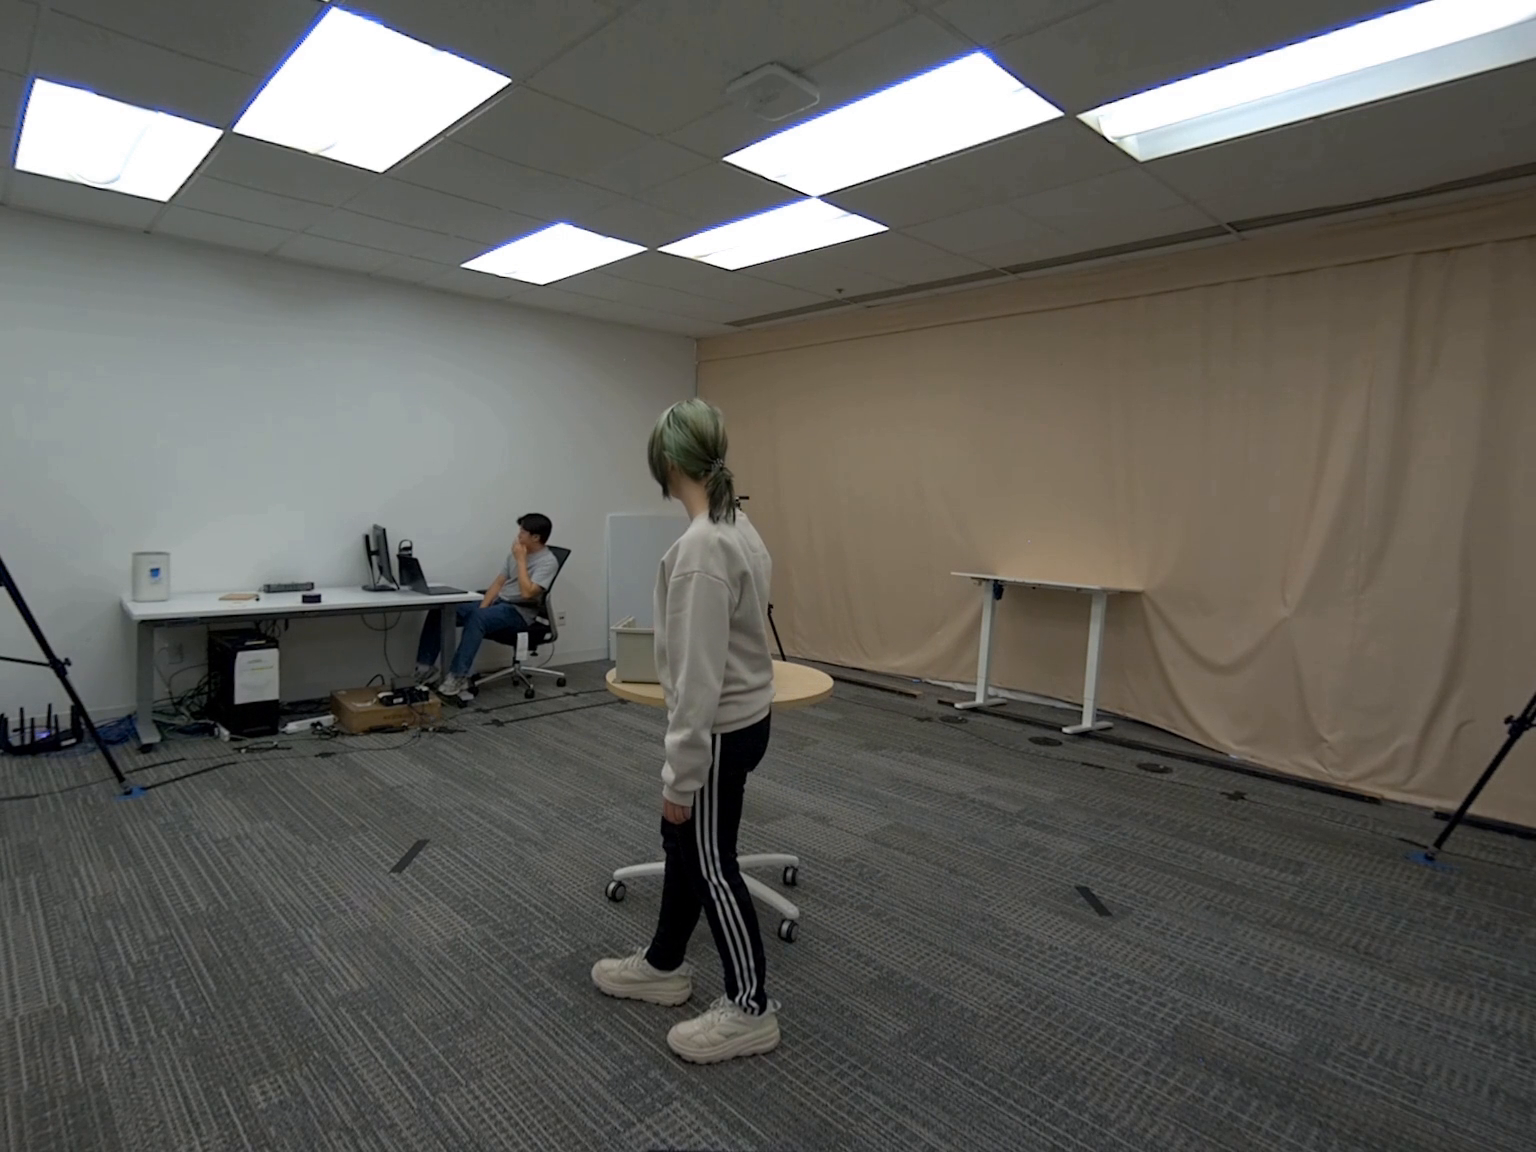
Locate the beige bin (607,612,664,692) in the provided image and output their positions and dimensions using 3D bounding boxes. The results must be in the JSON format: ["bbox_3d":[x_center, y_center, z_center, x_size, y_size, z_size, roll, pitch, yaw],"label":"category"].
[{"bbox_3d":[-0.293,0.251,2.853,0.423,0.188,0.378,2,5,2],"label":"beige bin"}]
